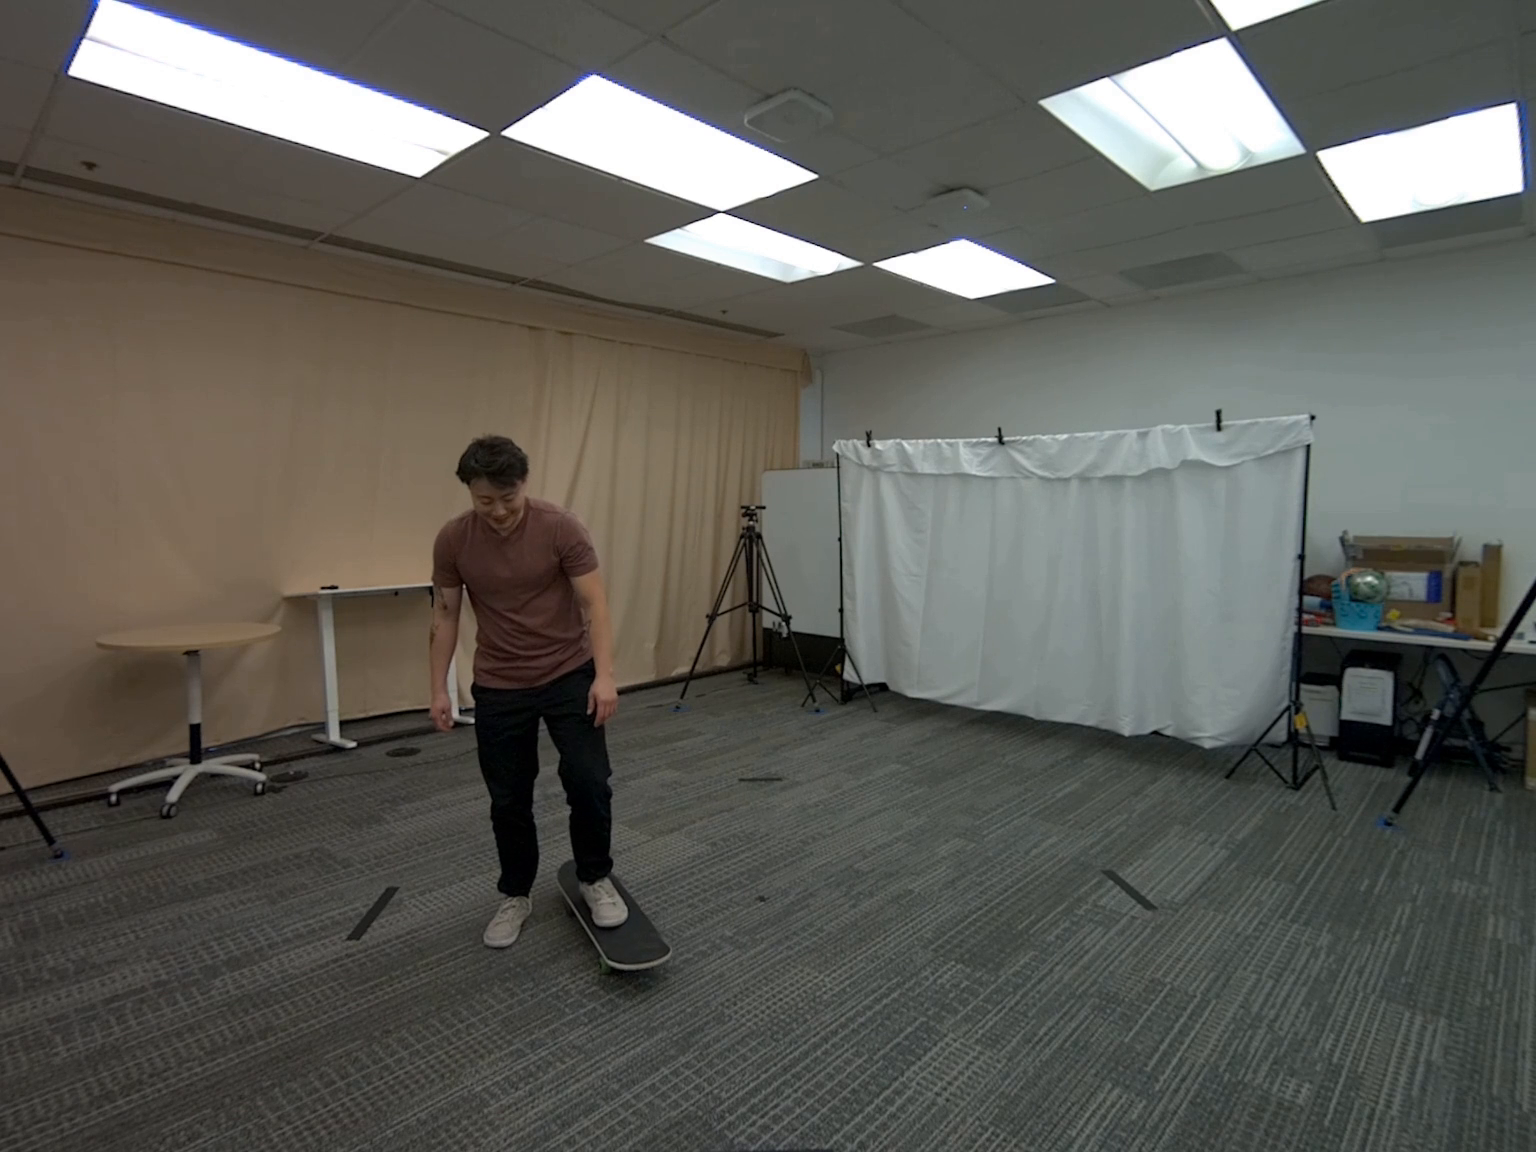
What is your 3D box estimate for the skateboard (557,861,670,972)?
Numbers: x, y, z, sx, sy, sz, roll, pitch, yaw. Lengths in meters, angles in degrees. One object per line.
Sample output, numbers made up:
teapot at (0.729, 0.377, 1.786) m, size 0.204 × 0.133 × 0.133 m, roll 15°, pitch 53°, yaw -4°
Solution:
skateboard at (-0.520, 1.111, 2.723) m, size 0.189 × 0.110 × 0.807 m, roll -4°, pitch 7°, yaw -27°
